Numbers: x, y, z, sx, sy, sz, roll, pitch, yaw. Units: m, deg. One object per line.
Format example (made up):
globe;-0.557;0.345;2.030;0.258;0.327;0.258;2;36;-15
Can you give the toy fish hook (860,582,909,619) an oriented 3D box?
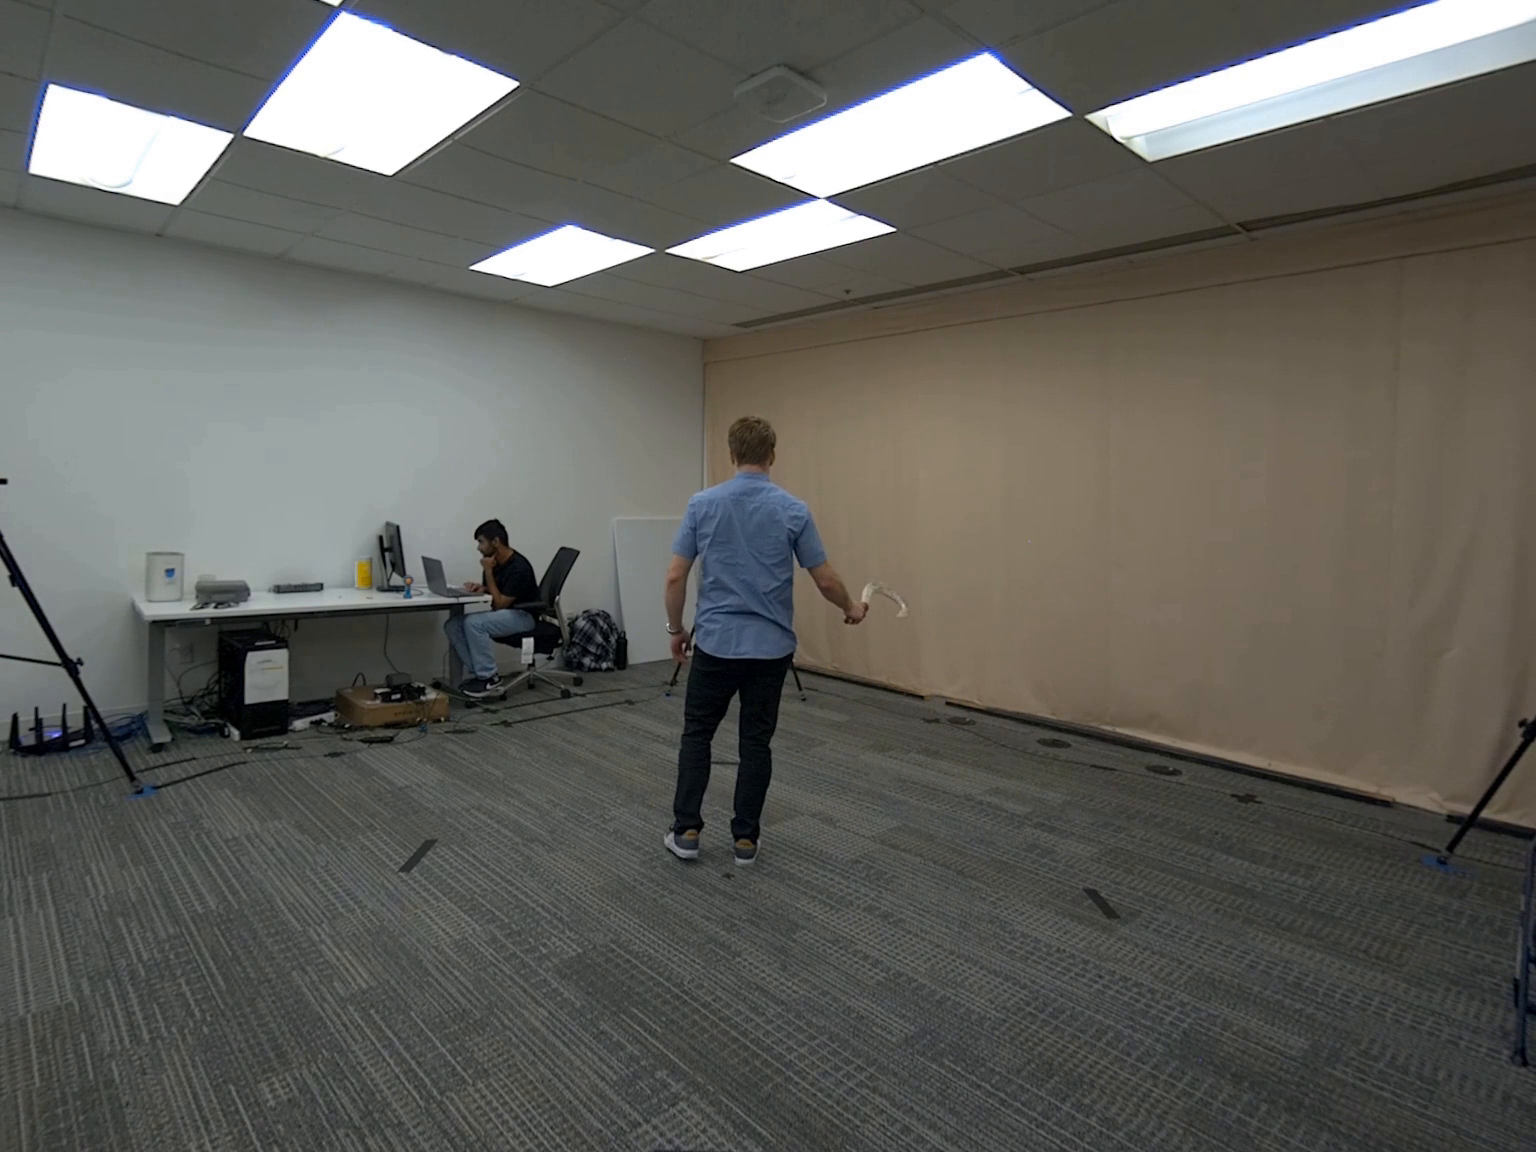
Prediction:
toy fish hook;0.459;0.146;3.593;0.228;0.048;0.502;33;29;15
